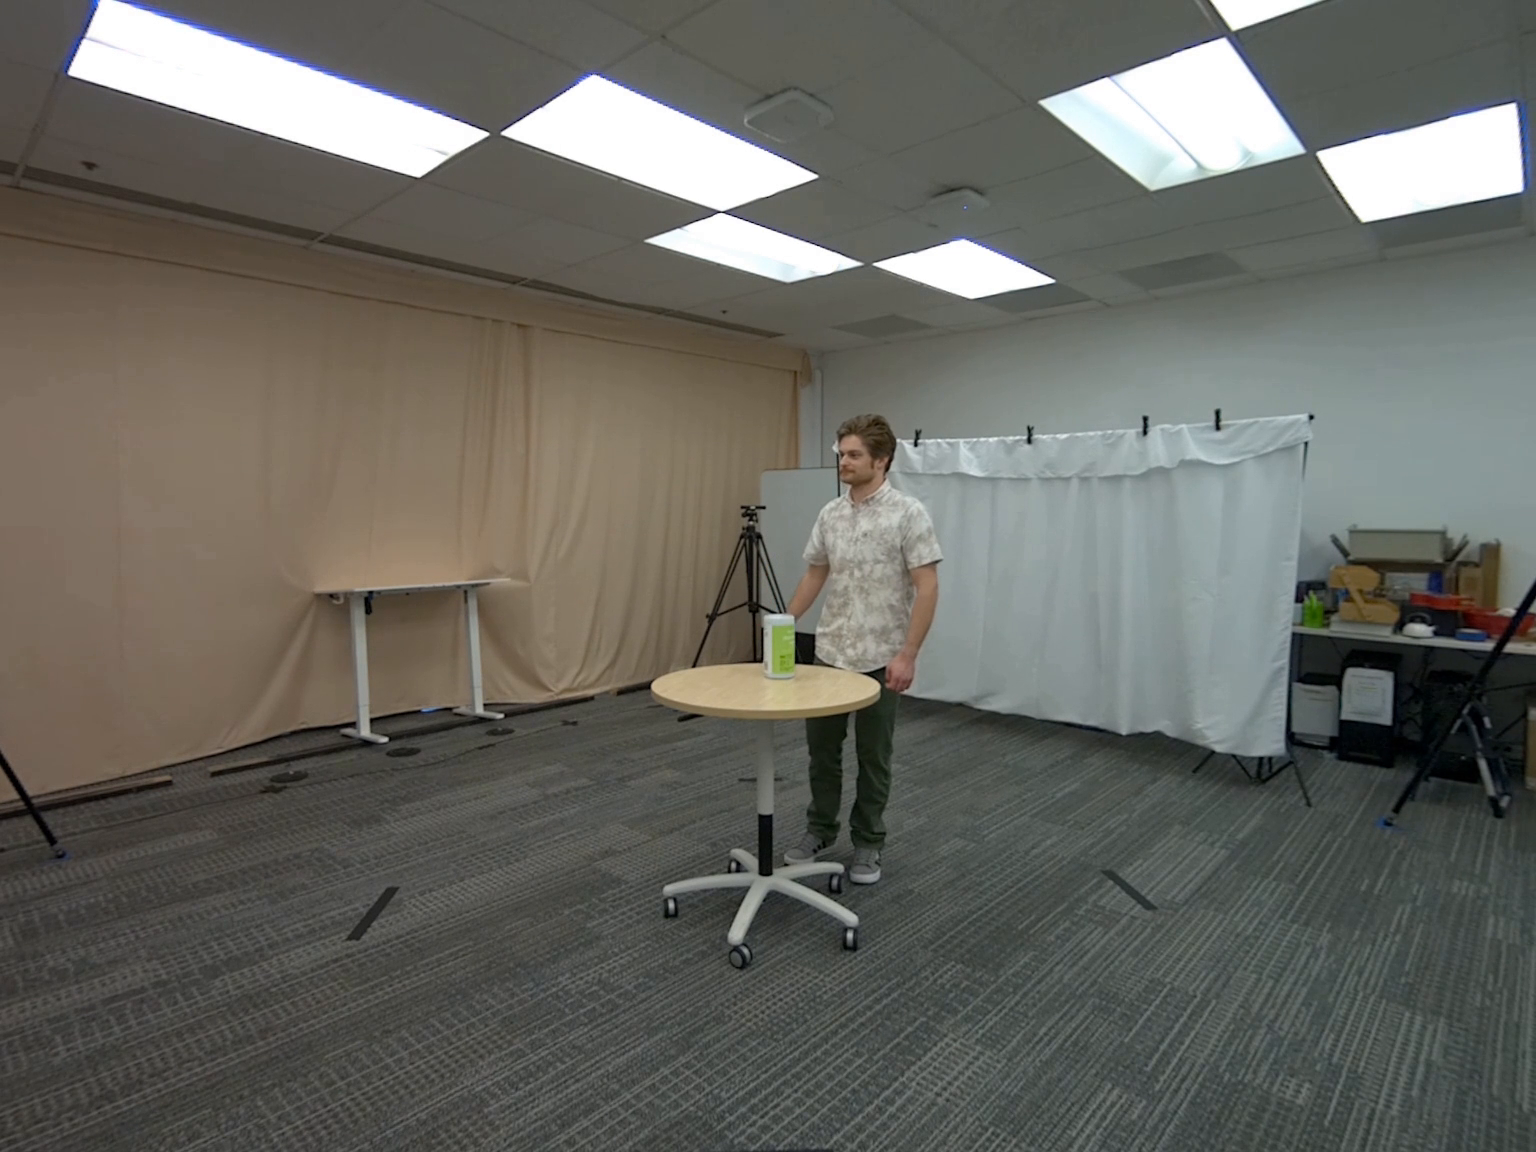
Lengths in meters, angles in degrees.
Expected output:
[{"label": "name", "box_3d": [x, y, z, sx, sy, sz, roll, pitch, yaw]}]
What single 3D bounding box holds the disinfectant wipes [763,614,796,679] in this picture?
[{"label": "disinfectant wipes", "box_3d": [0.041, 0.250, 2.949, 0.118, 0.217, 0.118, 1, 3, -2]}]
